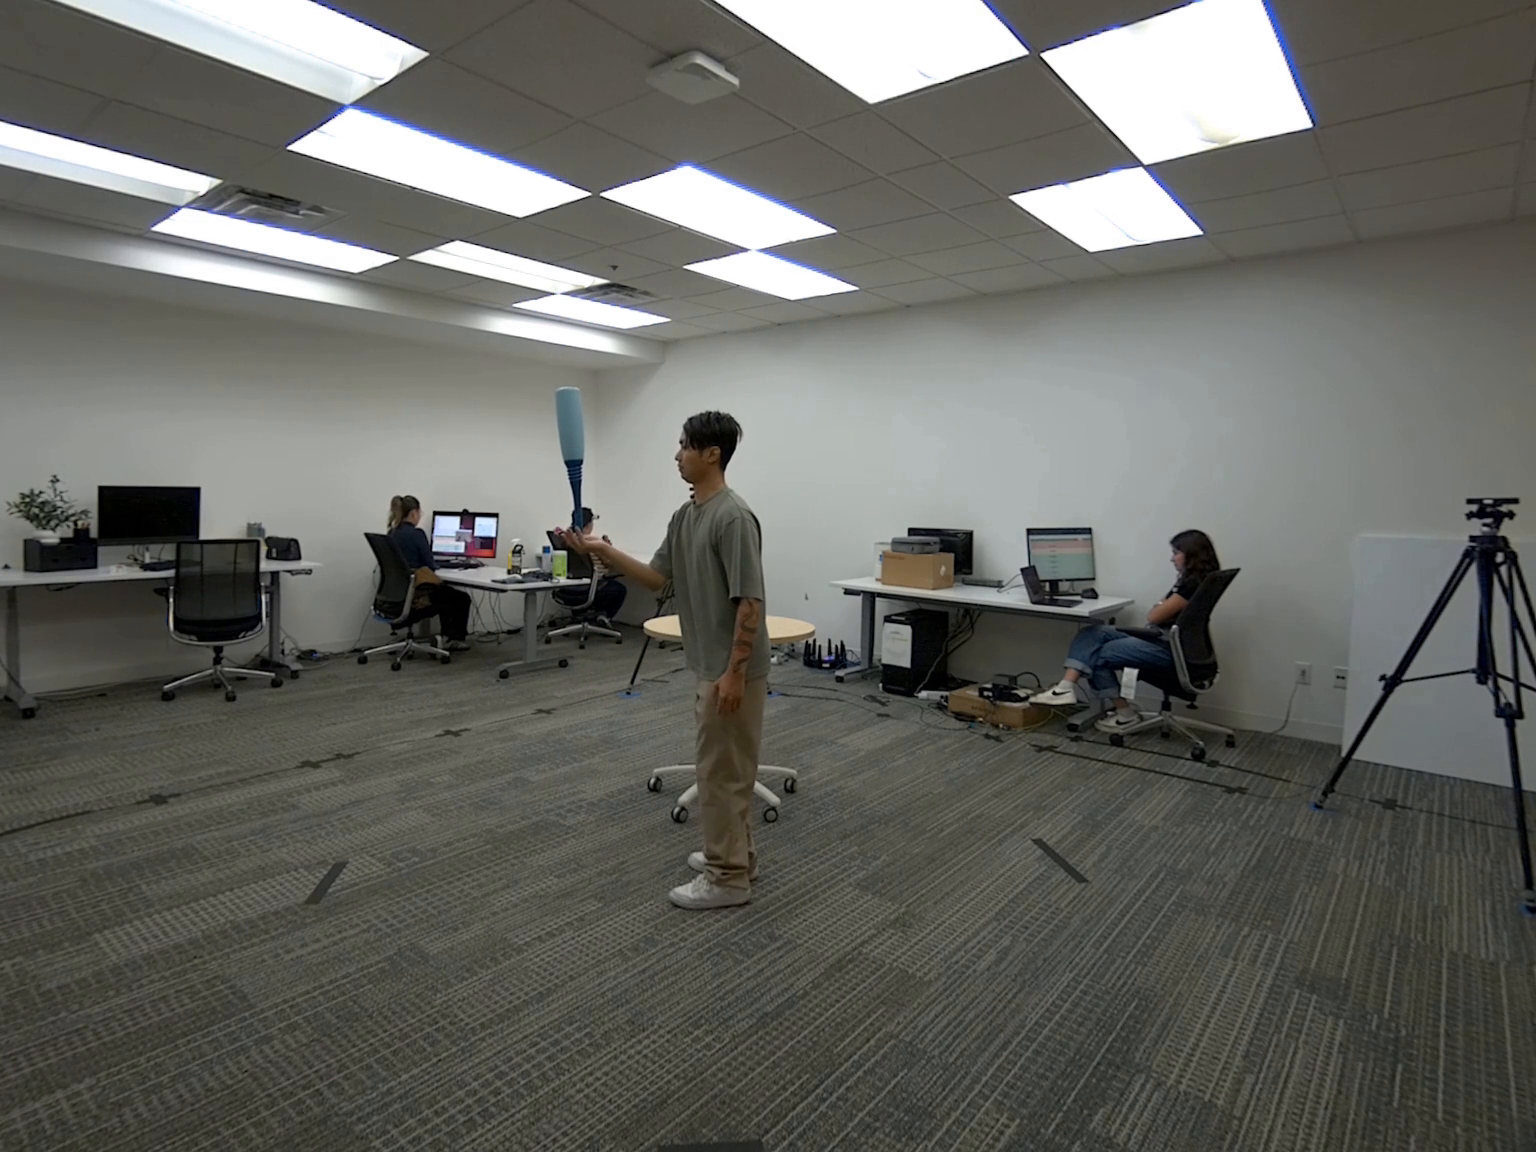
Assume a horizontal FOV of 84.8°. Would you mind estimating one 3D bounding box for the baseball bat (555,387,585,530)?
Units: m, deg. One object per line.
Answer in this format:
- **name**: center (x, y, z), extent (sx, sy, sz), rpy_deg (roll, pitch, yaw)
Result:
- **baseball bat**: center (-0.693, -0.385, 2.954), extent (0.089, 0.542, 0.089), rpy_deg (-2, 2, -2)
